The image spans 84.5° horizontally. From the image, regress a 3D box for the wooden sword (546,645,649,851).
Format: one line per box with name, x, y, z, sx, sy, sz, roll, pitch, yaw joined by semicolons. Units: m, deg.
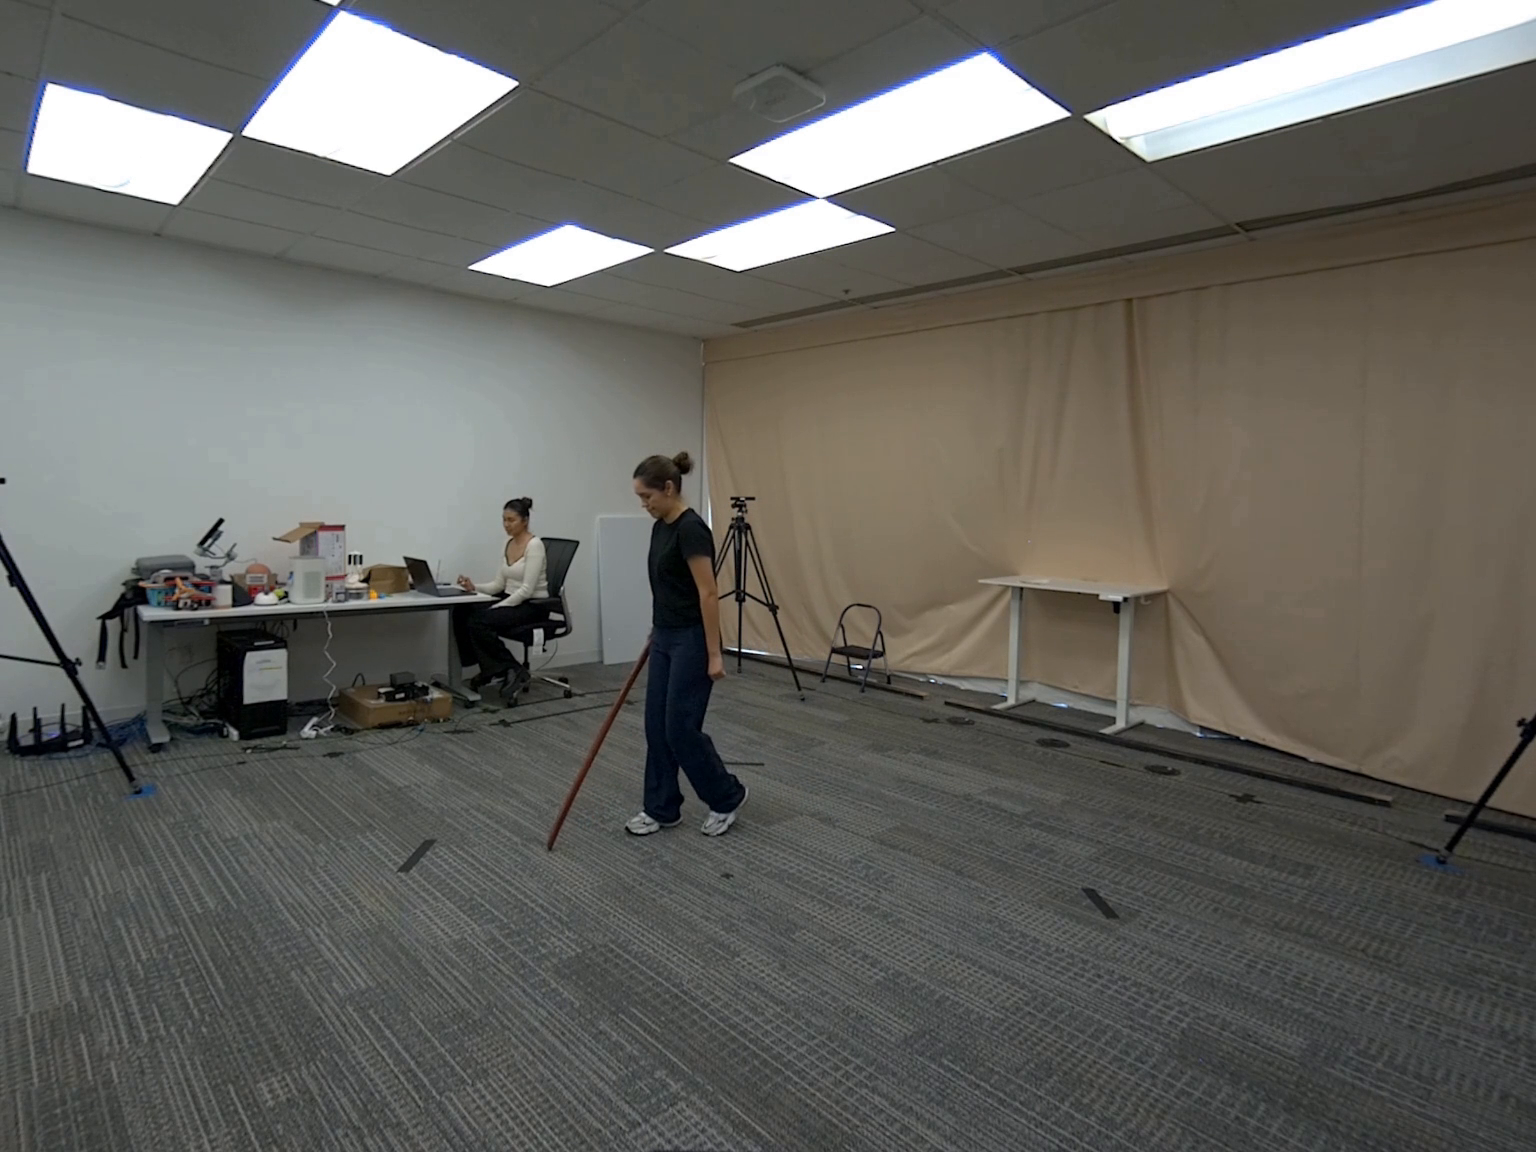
wooden sword;-0.685;0.635;3.486;0.024;1.034;0.050;-8;-40;45
